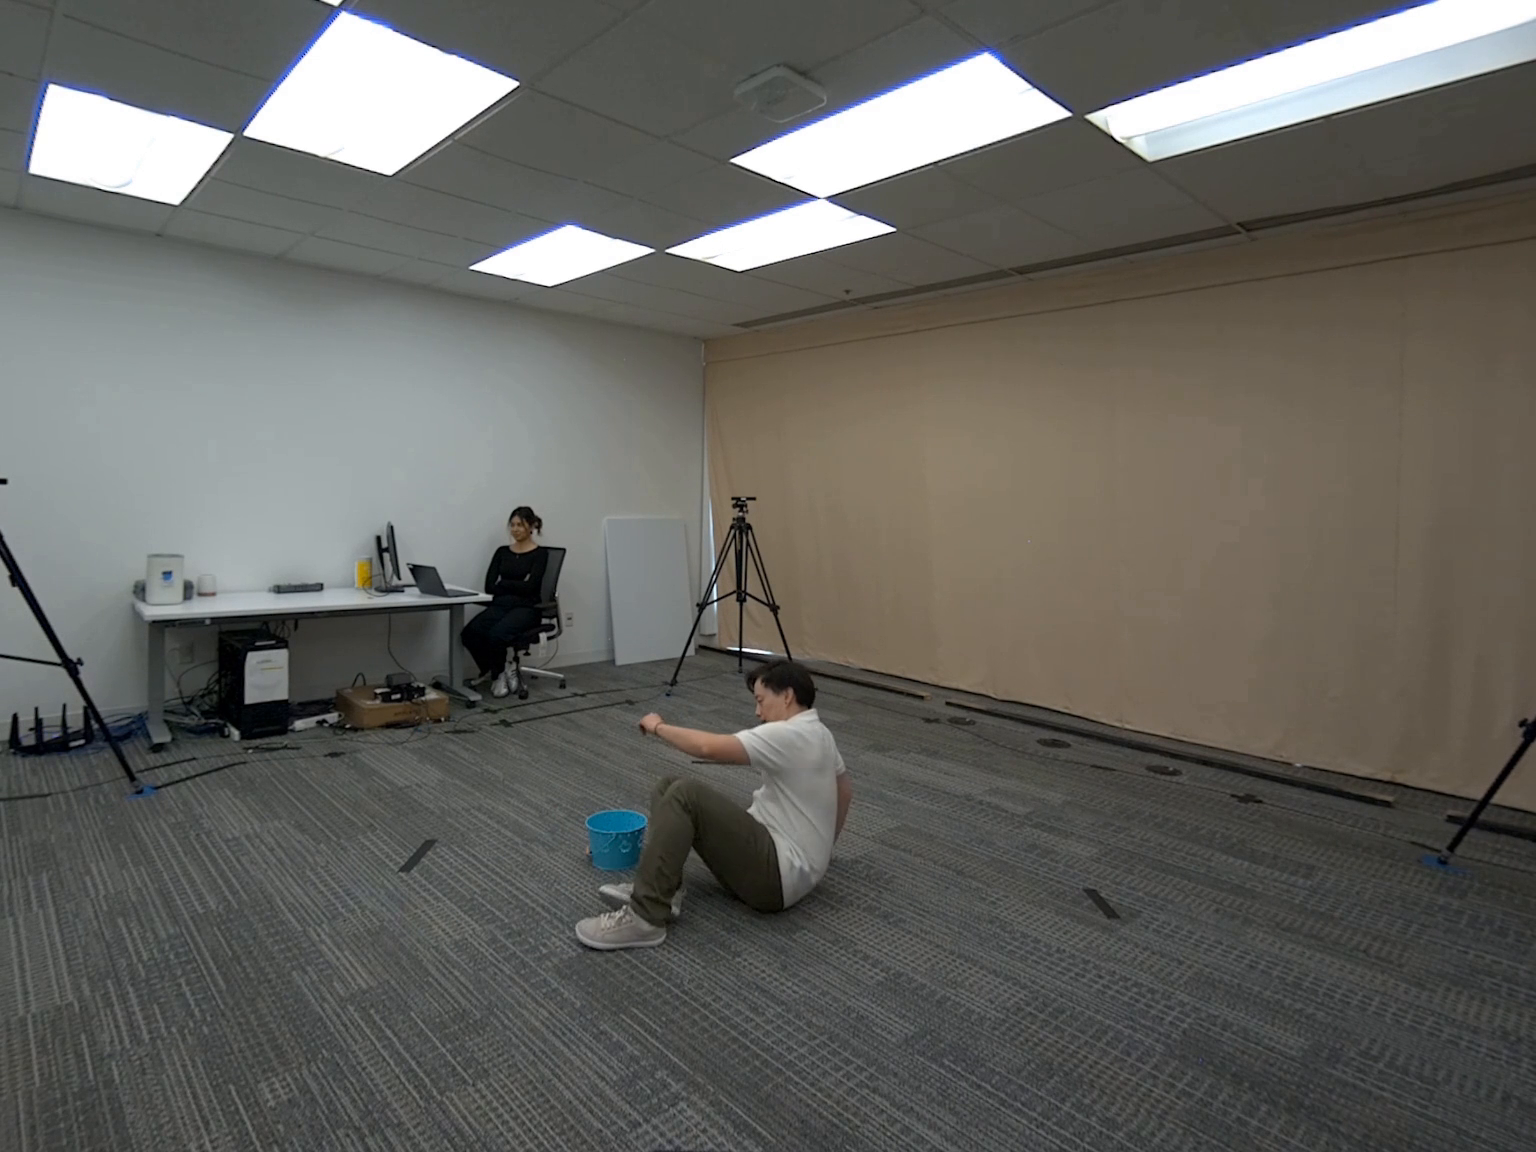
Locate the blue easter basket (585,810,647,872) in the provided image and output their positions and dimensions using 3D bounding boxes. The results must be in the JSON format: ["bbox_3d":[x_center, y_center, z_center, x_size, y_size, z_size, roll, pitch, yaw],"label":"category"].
[{"bbox_3d":[-0.585,1.002,3.220,0.243,0.155,0.244,2,3,-1],"label":"blue easter basket"}]
